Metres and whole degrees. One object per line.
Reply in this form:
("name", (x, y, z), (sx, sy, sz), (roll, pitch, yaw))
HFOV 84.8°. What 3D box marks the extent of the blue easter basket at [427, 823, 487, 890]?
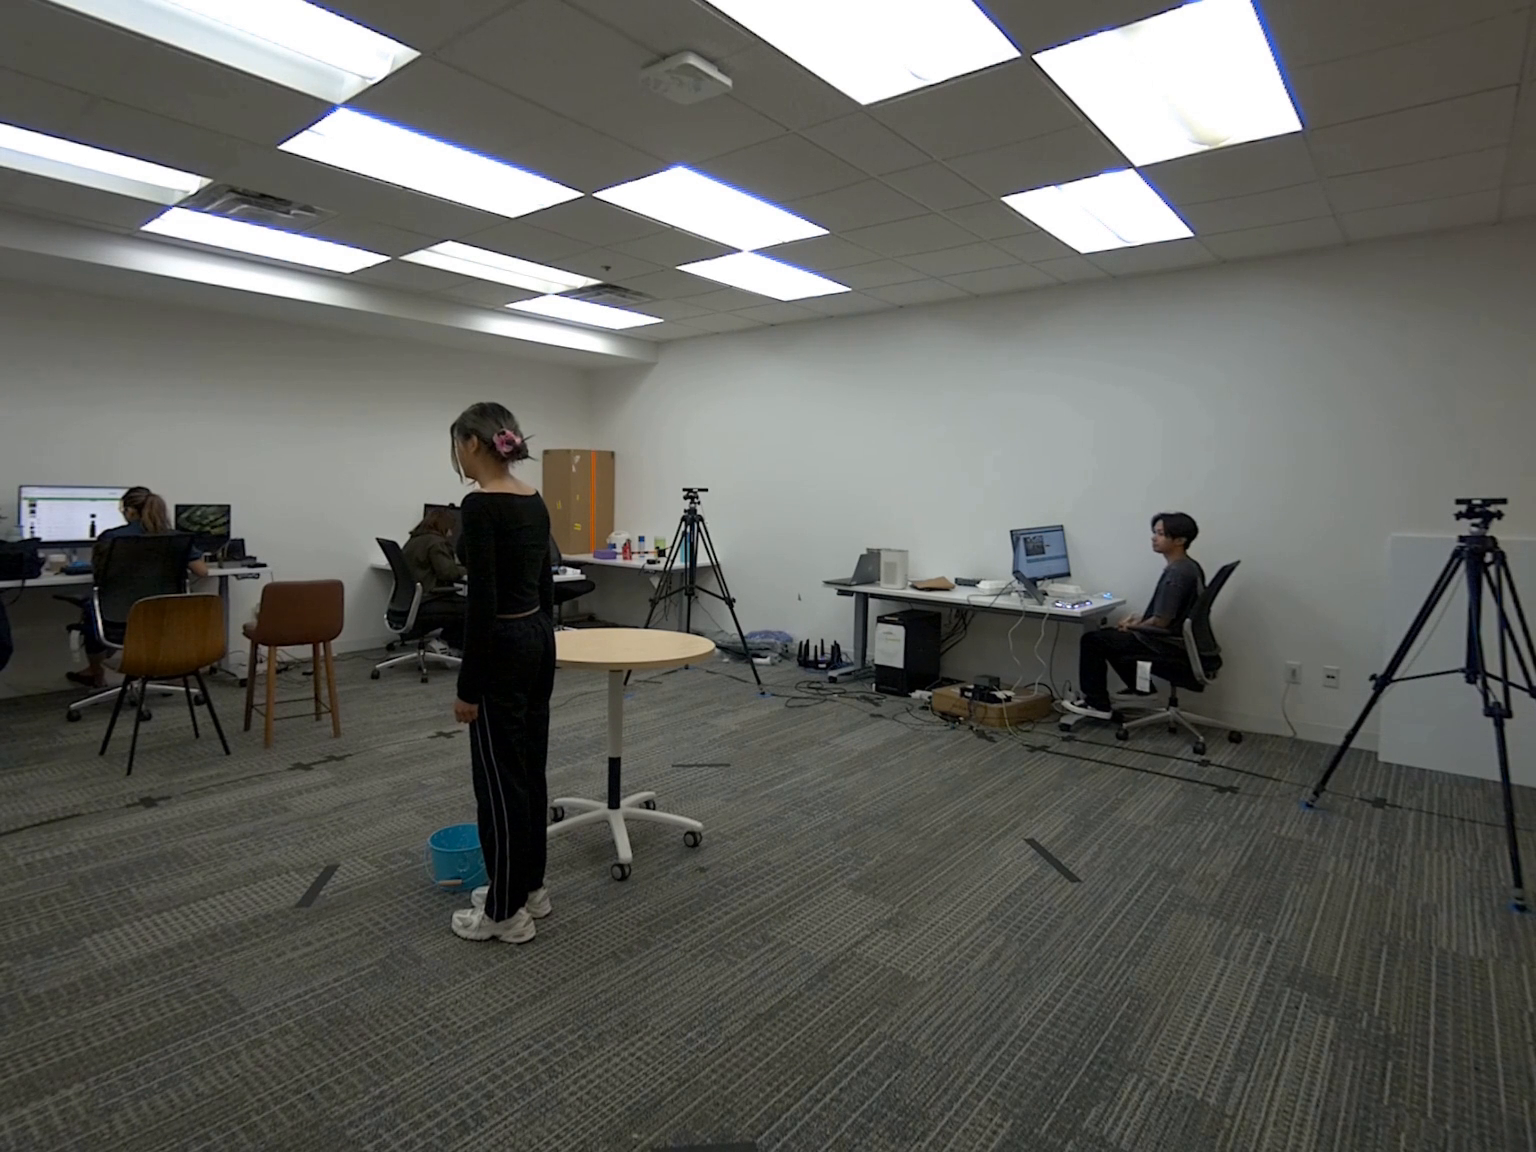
("blue easter basket", (-1.089, 0.989, 2.995), (0.243, 0.155, 0.245), (1, 5, -2))
